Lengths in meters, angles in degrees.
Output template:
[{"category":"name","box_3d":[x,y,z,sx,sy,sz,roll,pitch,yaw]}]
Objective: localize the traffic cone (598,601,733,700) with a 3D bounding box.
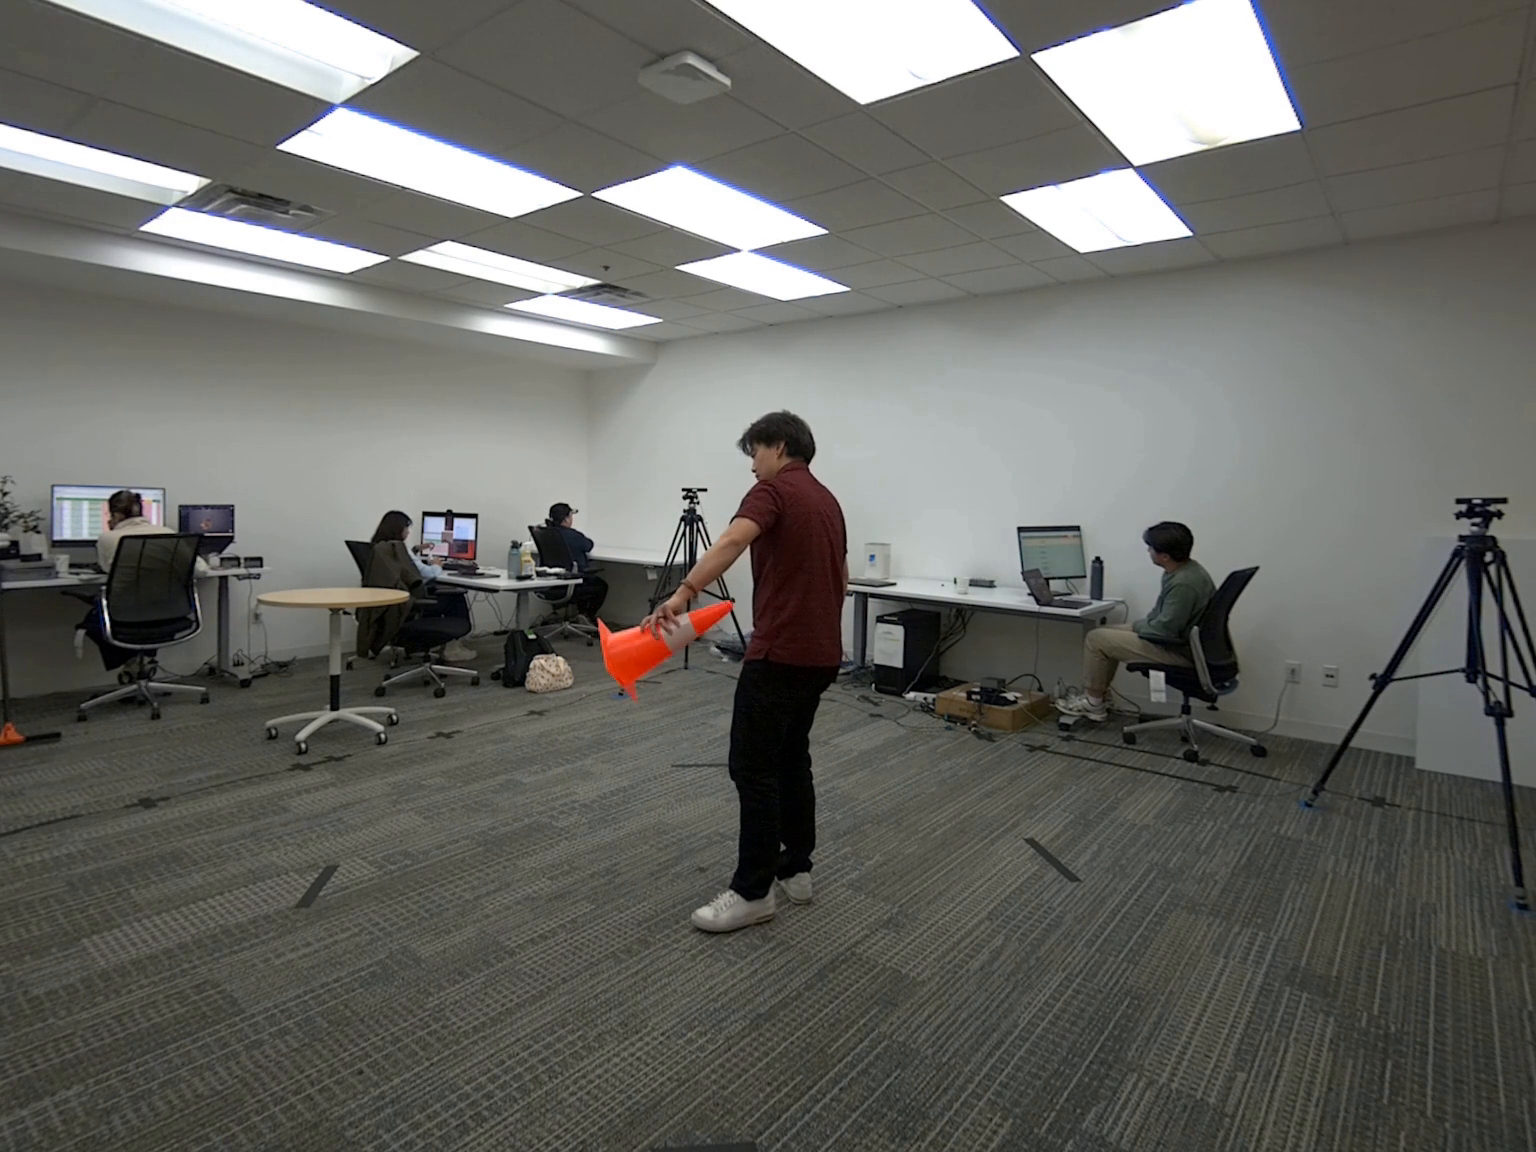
[{"category":"traffic cone","box_3d":[-0.279,0.176,2.481,0.385,0.211,0.197,-23,-42,6]}]
